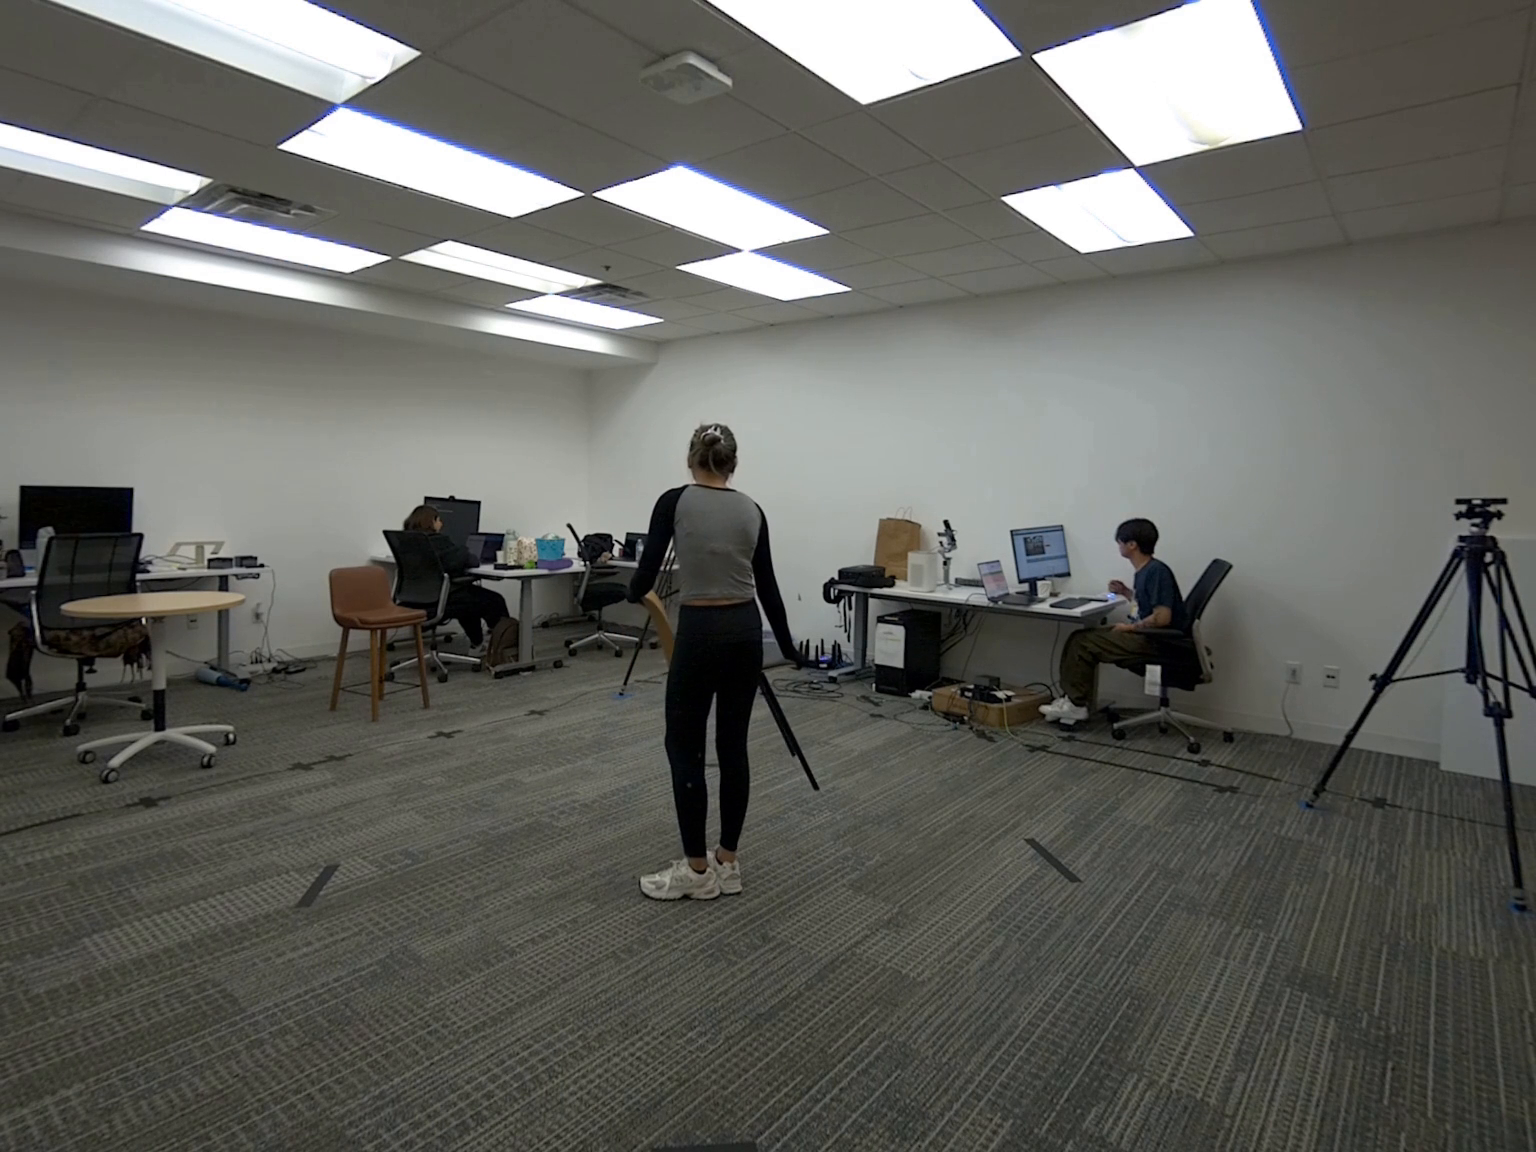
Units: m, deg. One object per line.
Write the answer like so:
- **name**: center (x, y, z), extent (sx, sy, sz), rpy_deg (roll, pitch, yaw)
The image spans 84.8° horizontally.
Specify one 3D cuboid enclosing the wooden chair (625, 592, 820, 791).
- **wooden chair**: center (-0.157, 0.396, 3.308), extent (0.520, 0.875, 0.482), rpy_deg (-16, 3, -7)
